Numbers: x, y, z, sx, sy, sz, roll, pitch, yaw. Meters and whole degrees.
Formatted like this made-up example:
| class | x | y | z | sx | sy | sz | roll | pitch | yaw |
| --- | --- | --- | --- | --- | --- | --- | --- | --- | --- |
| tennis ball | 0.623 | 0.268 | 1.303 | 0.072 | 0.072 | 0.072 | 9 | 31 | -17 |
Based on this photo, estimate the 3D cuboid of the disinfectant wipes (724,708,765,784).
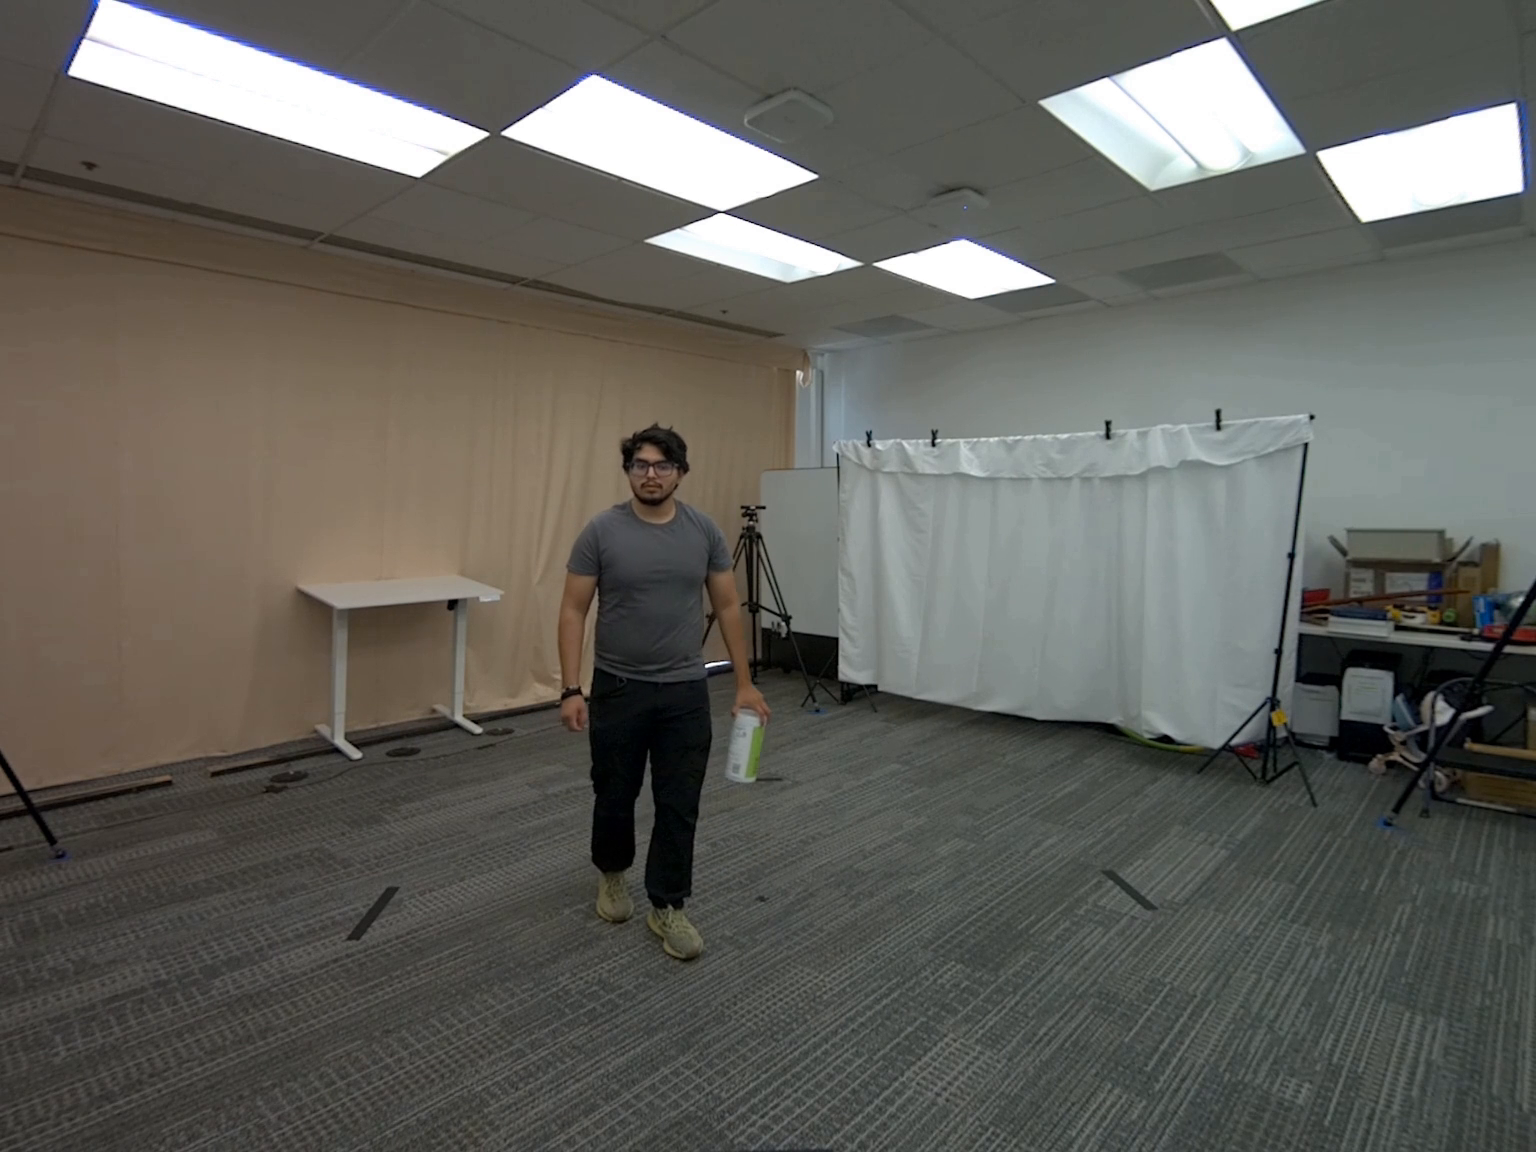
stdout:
| class | x | y | z | sx | sy | sz | roll | pitch | yaw |
| --- | --- | --- | --- | --- | --- | --- | --- | --- | --- |
| disinfectant wipes | -0.073 | 0.552 | 2.707 | 0.117 | 0.217 | 0.118 | 9 | 1 | -2 |
